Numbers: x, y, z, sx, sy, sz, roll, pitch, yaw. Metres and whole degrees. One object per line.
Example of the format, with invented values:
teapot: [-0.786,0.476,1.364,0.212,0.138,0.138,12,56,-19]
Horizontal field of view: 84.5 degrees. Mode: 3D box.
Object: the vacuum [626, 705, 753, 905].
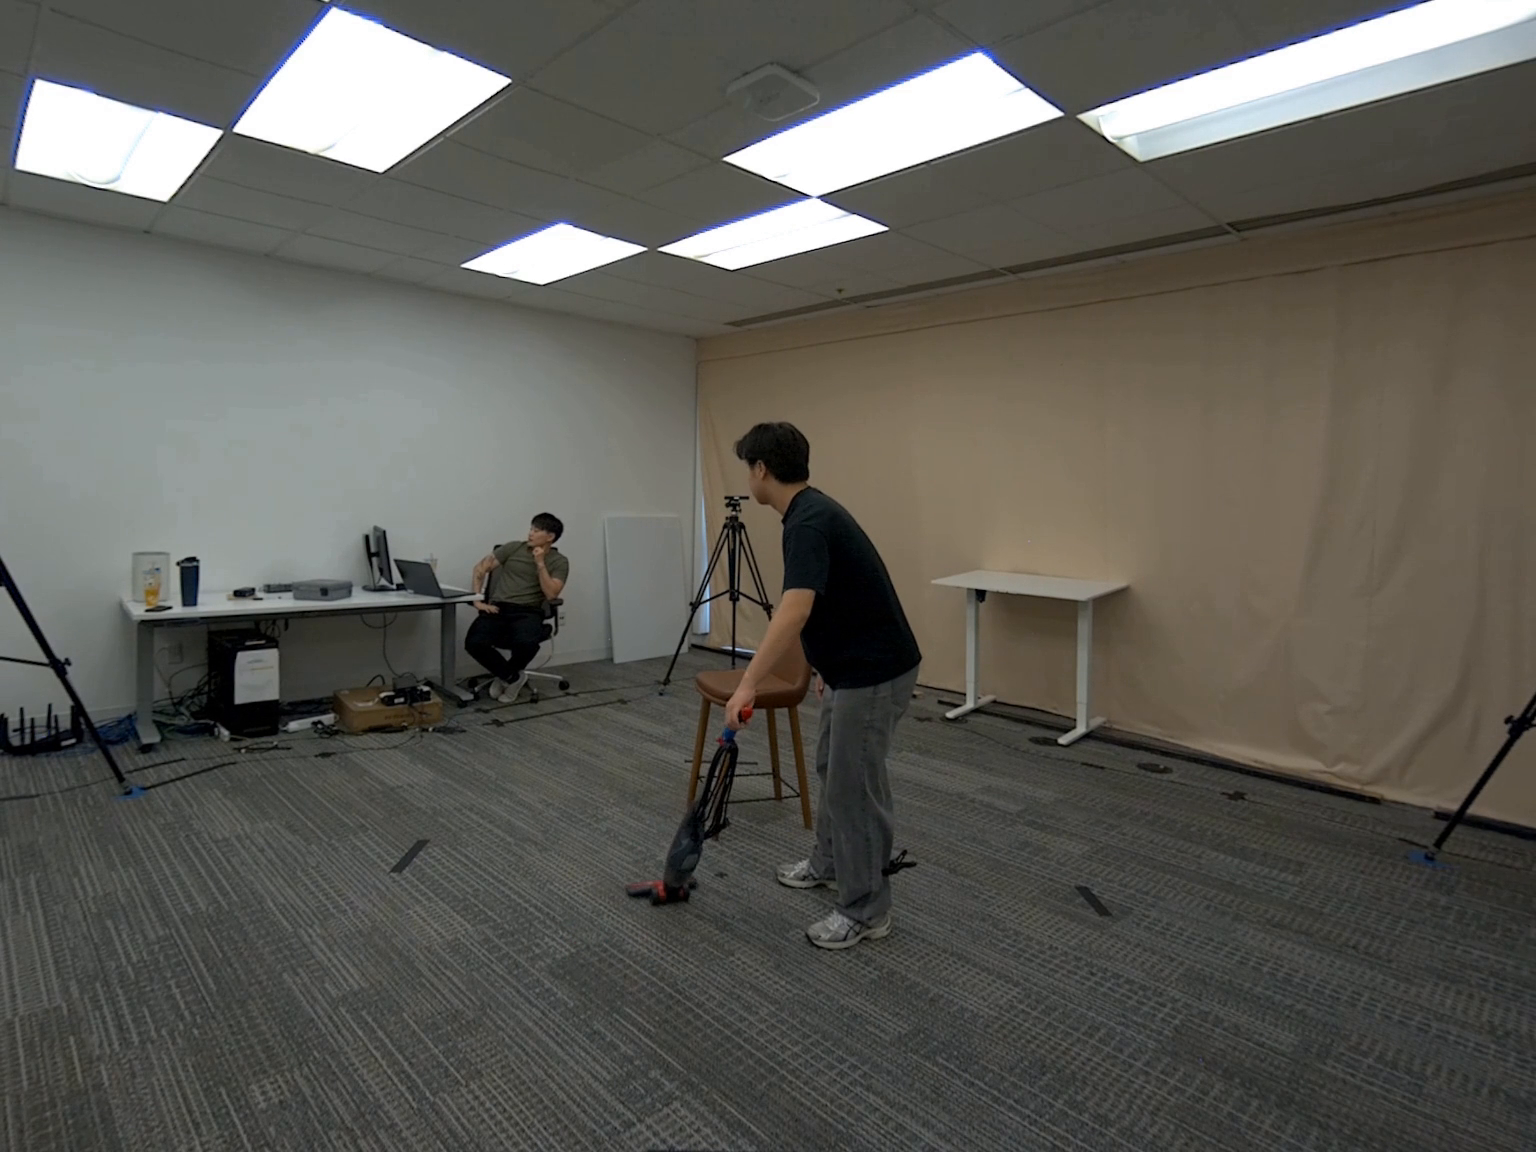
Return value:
vacuum: [-0.214,0.736,2.607,0.248,1.037,0.148,2,43,-24]
